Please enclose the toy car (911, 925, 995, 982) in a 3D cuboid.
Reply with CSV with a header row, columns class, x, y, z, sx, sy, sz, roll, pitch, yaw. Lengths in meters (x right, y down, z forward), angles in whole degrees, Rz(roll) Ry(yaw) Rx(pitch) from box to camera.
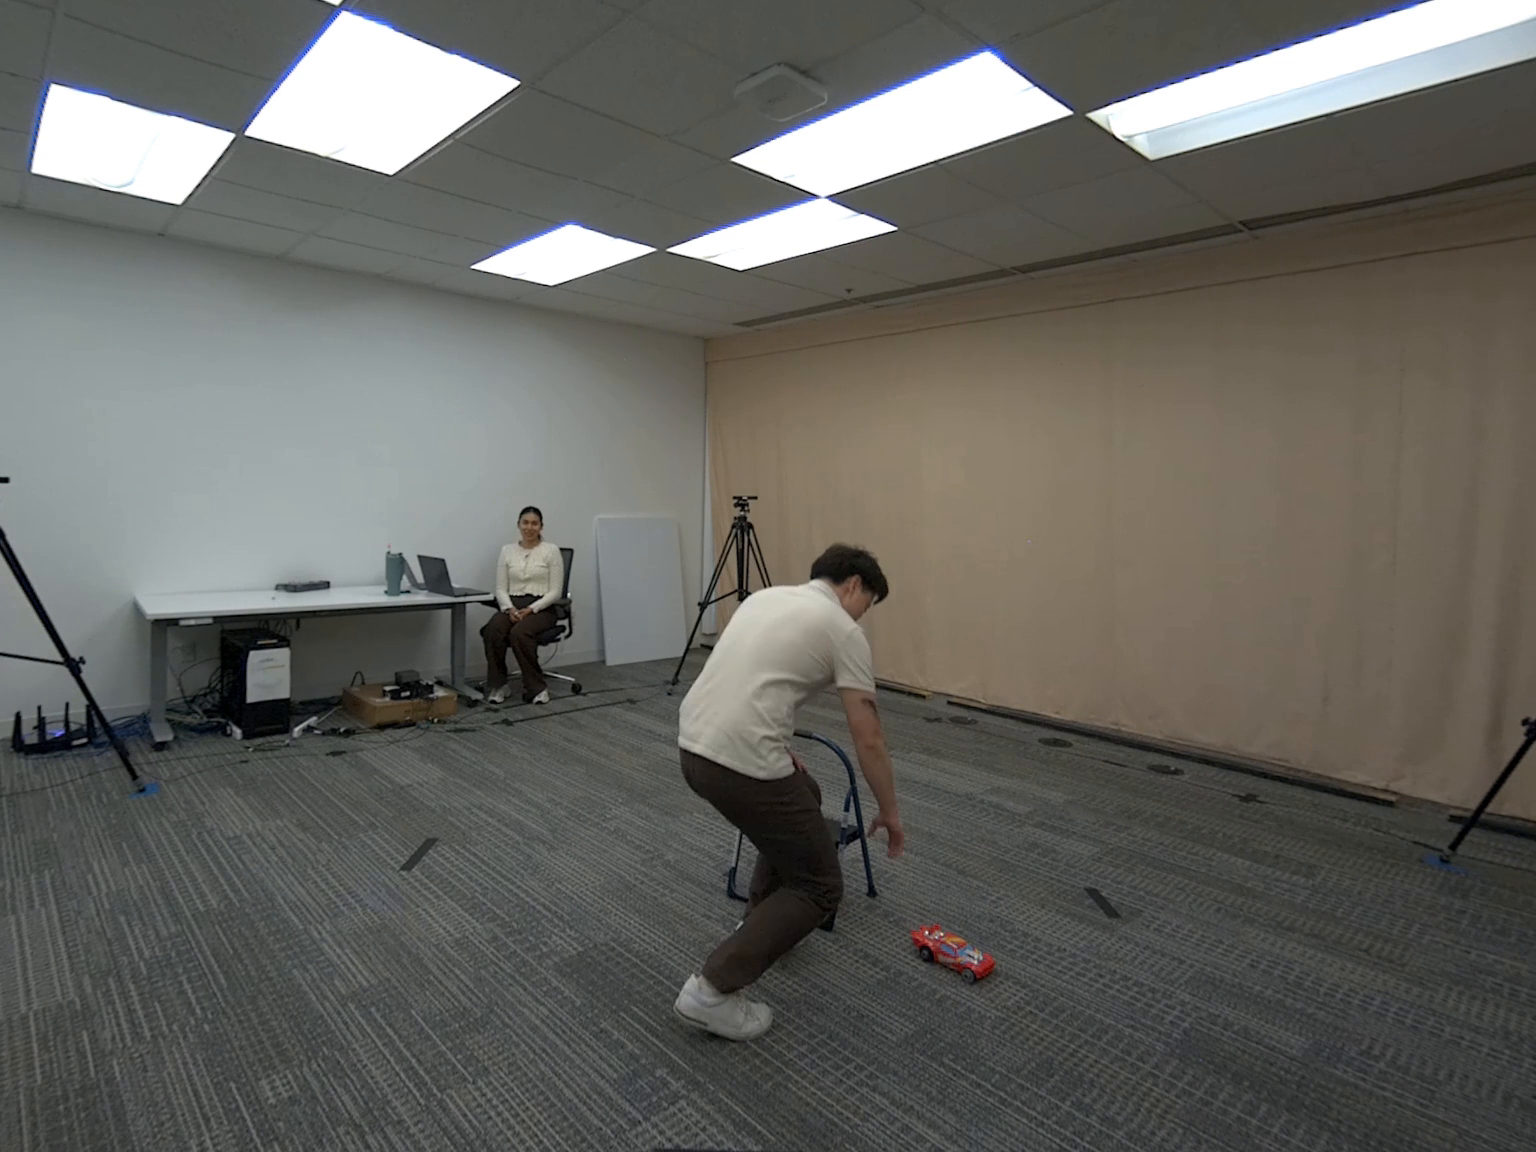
class,x,y,z,sx,sy,sz,roll,pitch,yaw
toy car,0.547,1.140,2.549,0.127,0.082,0.262,-4,18,-44
